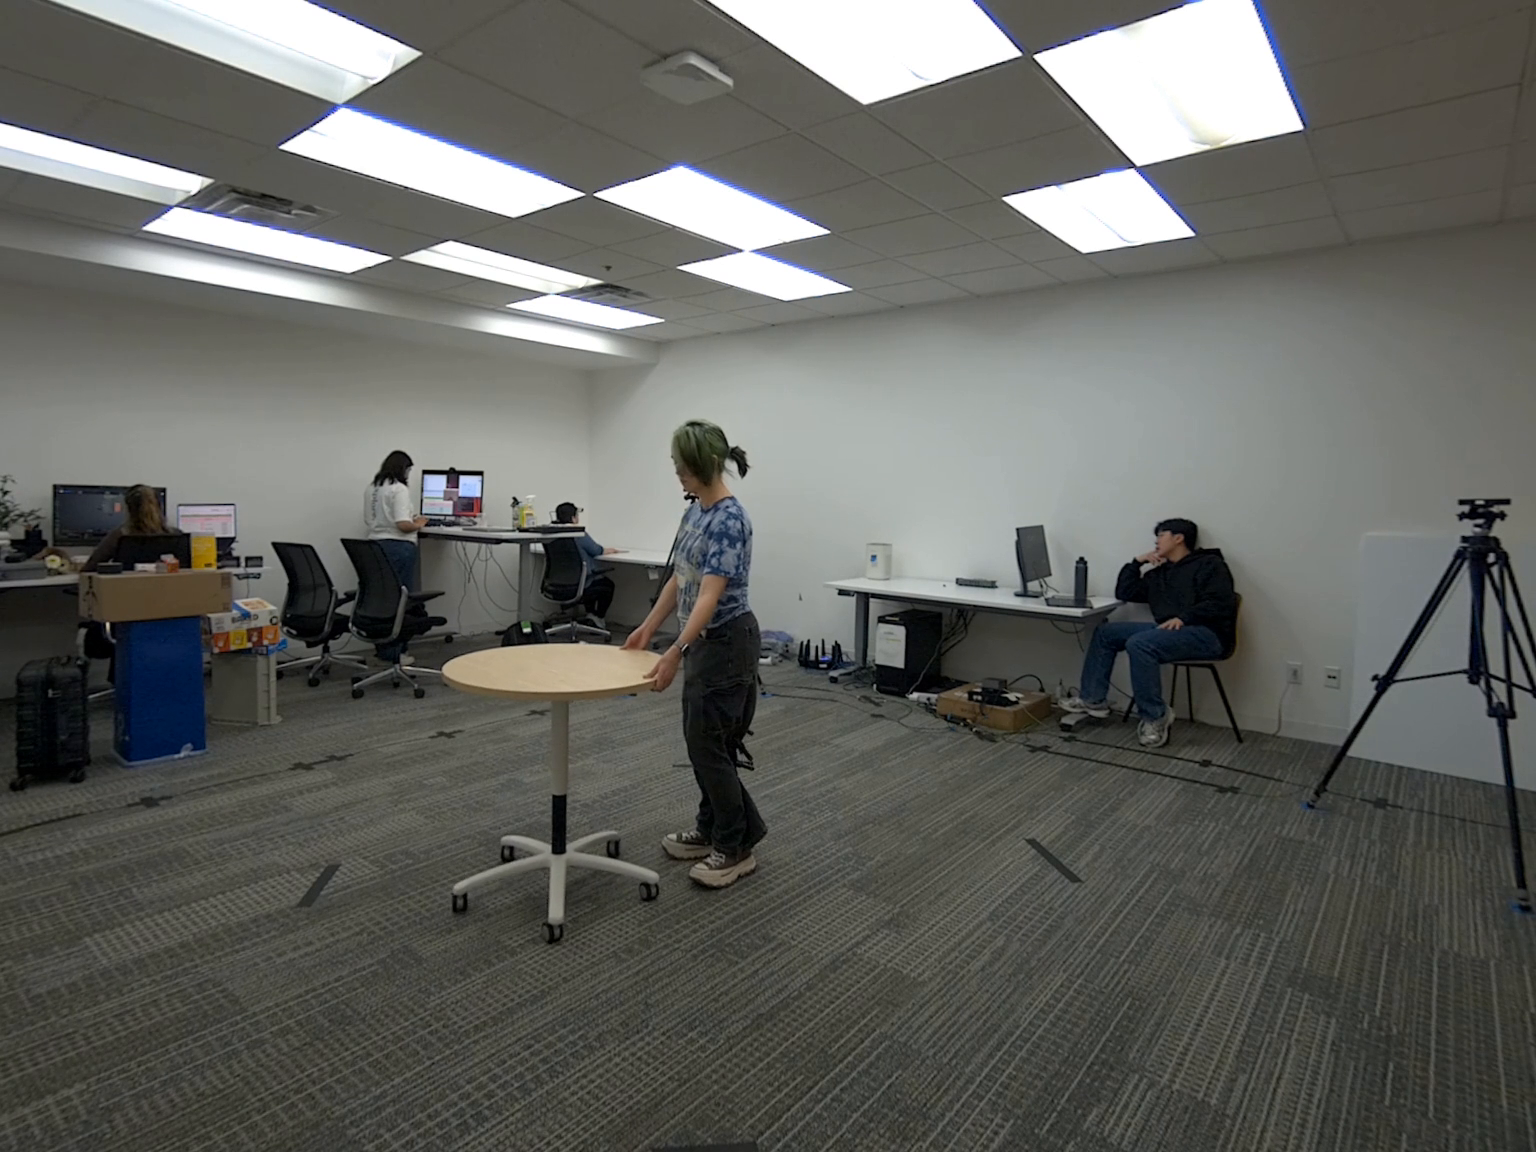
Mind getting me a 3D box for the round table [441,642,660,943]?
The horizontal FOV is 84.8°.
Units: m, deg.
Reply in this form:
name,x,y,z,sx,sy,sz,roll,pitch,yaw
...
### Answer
name,x,y,z,sx,sy,sz,roll,pitch,yaw
round table,-0.719,0.691,2.892,0.763,0.791,0.768,1,5,-2
